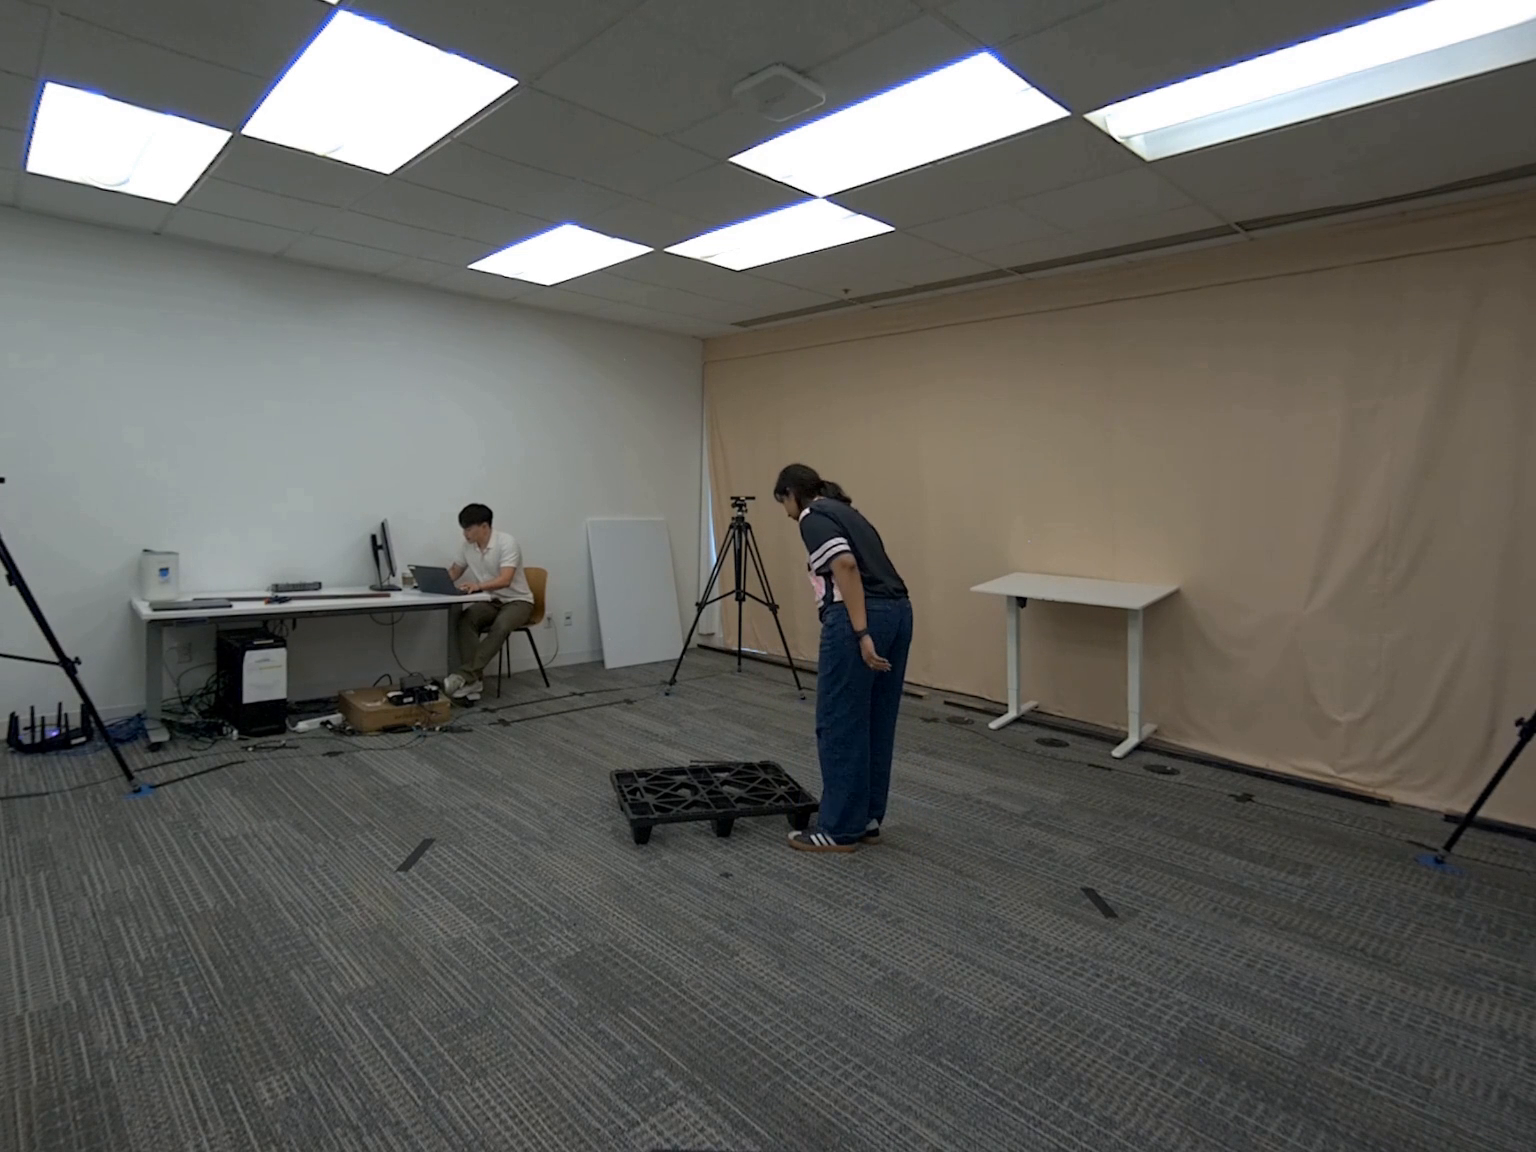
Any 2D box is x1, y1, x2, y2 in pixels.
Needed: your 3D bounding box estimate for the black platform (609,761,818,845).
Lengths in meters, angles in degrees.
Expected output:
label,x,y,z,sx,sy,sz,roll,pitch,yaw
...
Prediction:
label,x,y,z,sx,sy,sz,roll,pitch,yaw
black platform,-0.265,0.980,3.678,0.795,0.143,0.614,0,4,-17
